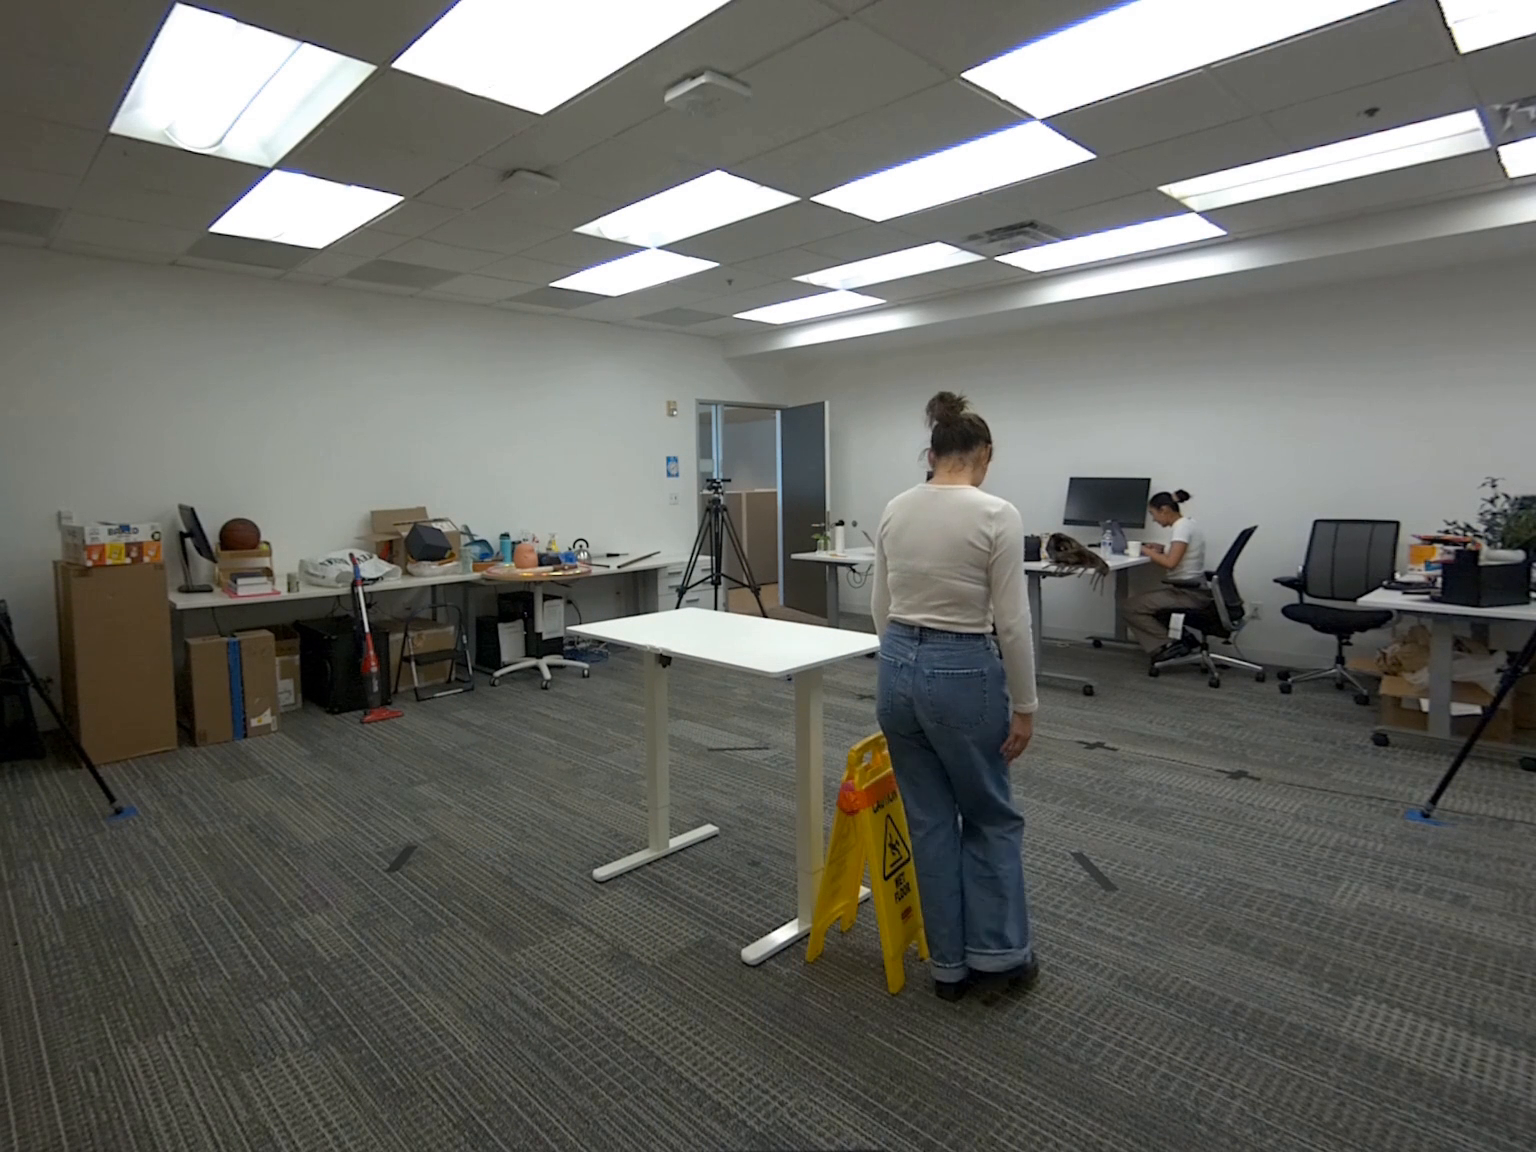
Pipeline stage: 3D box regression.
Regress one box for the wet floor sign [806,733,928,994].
[{"bbox_3d":[0.299,0.788,2.468,0.298,0.643,0.275,2,6,36],"label":"wet floor sign"}]
